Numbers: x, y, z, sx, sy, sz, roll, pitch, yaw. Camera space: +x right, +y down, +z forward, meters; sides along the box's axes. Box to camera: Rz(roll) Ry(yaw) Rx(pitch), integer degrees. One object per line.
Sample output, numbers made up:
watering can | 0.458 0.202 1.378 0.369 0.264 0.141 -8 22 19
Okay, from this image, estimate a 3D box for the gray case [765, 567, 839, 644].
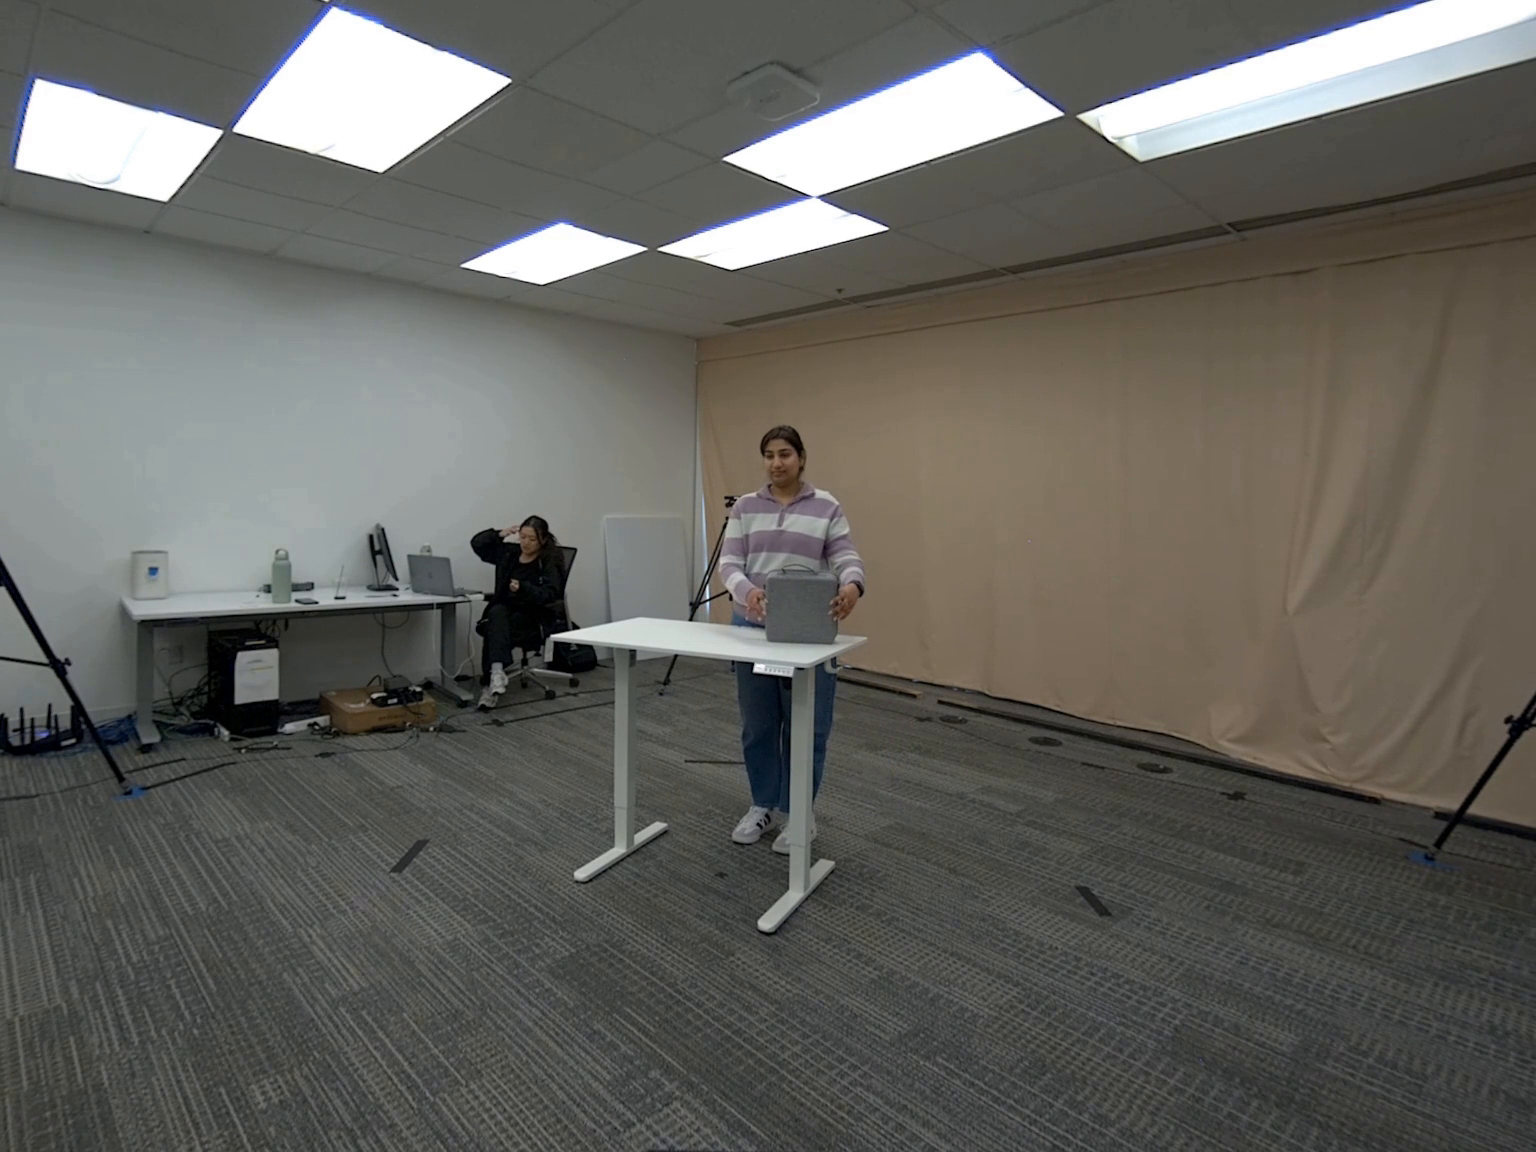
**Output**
gray case | 0.106 0.110 2.964 0.258 0.257 0.105 1 16 6
